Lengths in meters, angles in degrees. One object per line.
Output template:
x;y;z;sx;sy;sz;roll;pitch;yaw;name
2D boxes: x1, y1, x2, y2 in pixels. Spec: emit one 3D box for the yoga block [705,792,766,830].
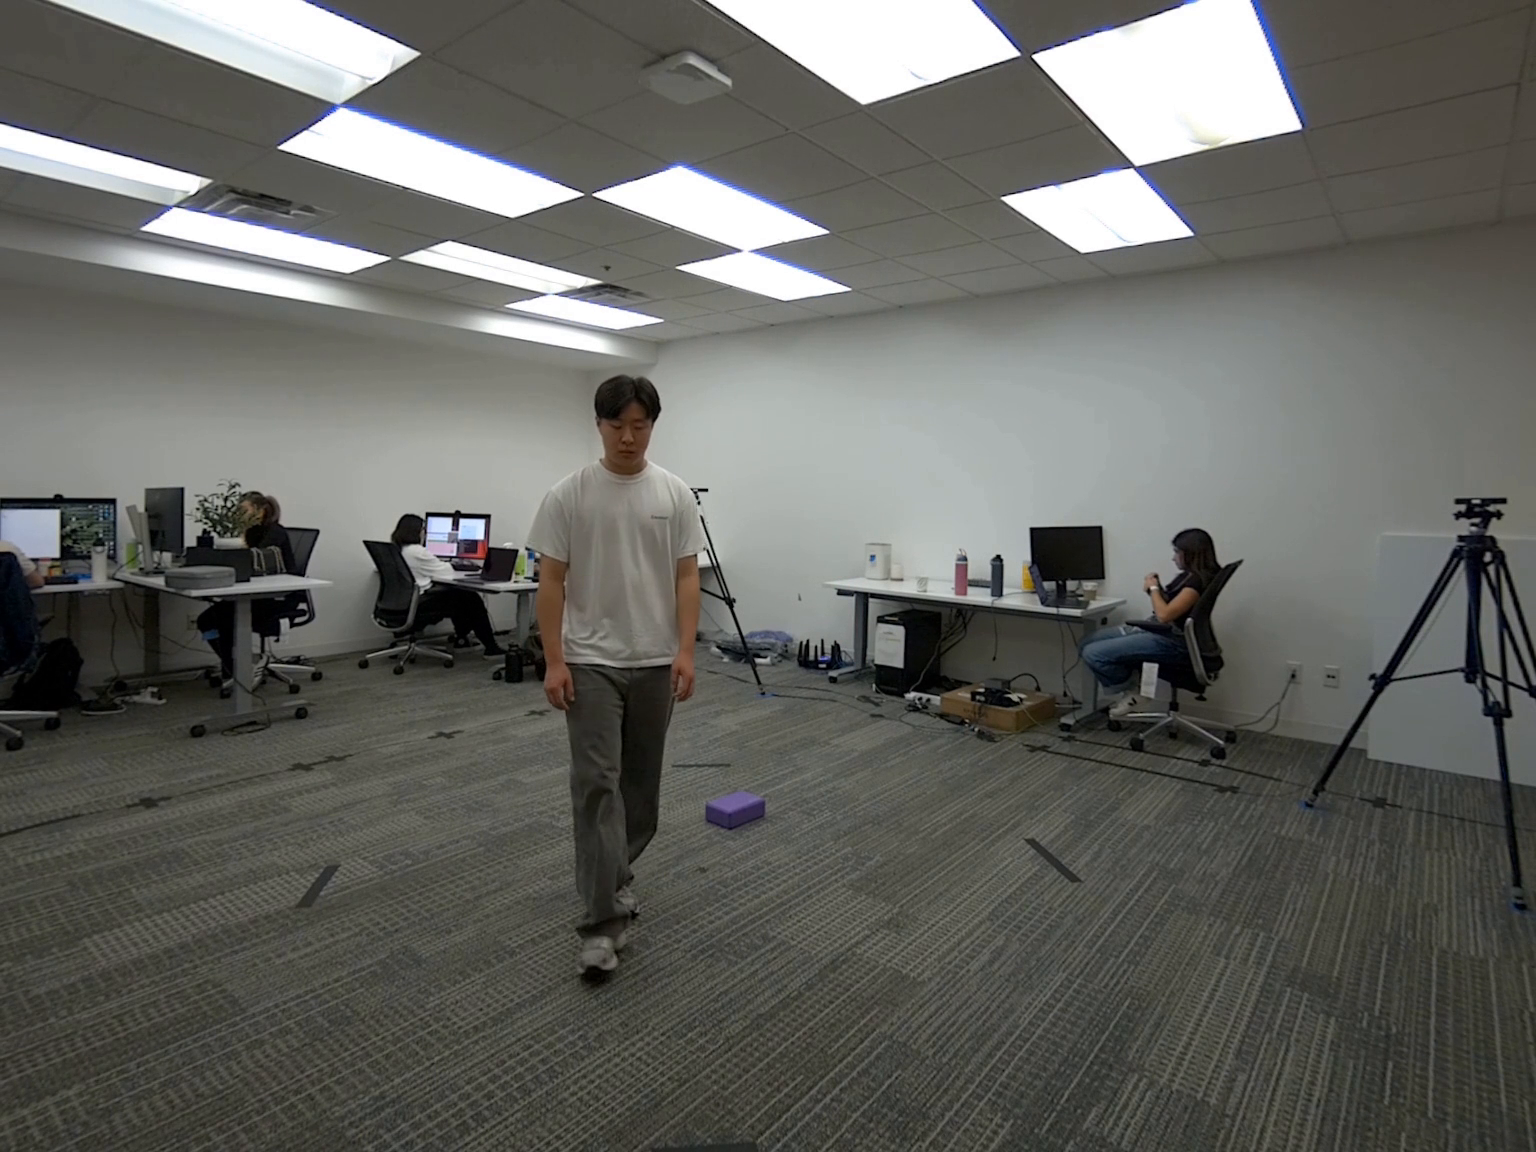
-0.136;0.980;3.605;0.154;0.076;0.222;6;7;42;yoga block
